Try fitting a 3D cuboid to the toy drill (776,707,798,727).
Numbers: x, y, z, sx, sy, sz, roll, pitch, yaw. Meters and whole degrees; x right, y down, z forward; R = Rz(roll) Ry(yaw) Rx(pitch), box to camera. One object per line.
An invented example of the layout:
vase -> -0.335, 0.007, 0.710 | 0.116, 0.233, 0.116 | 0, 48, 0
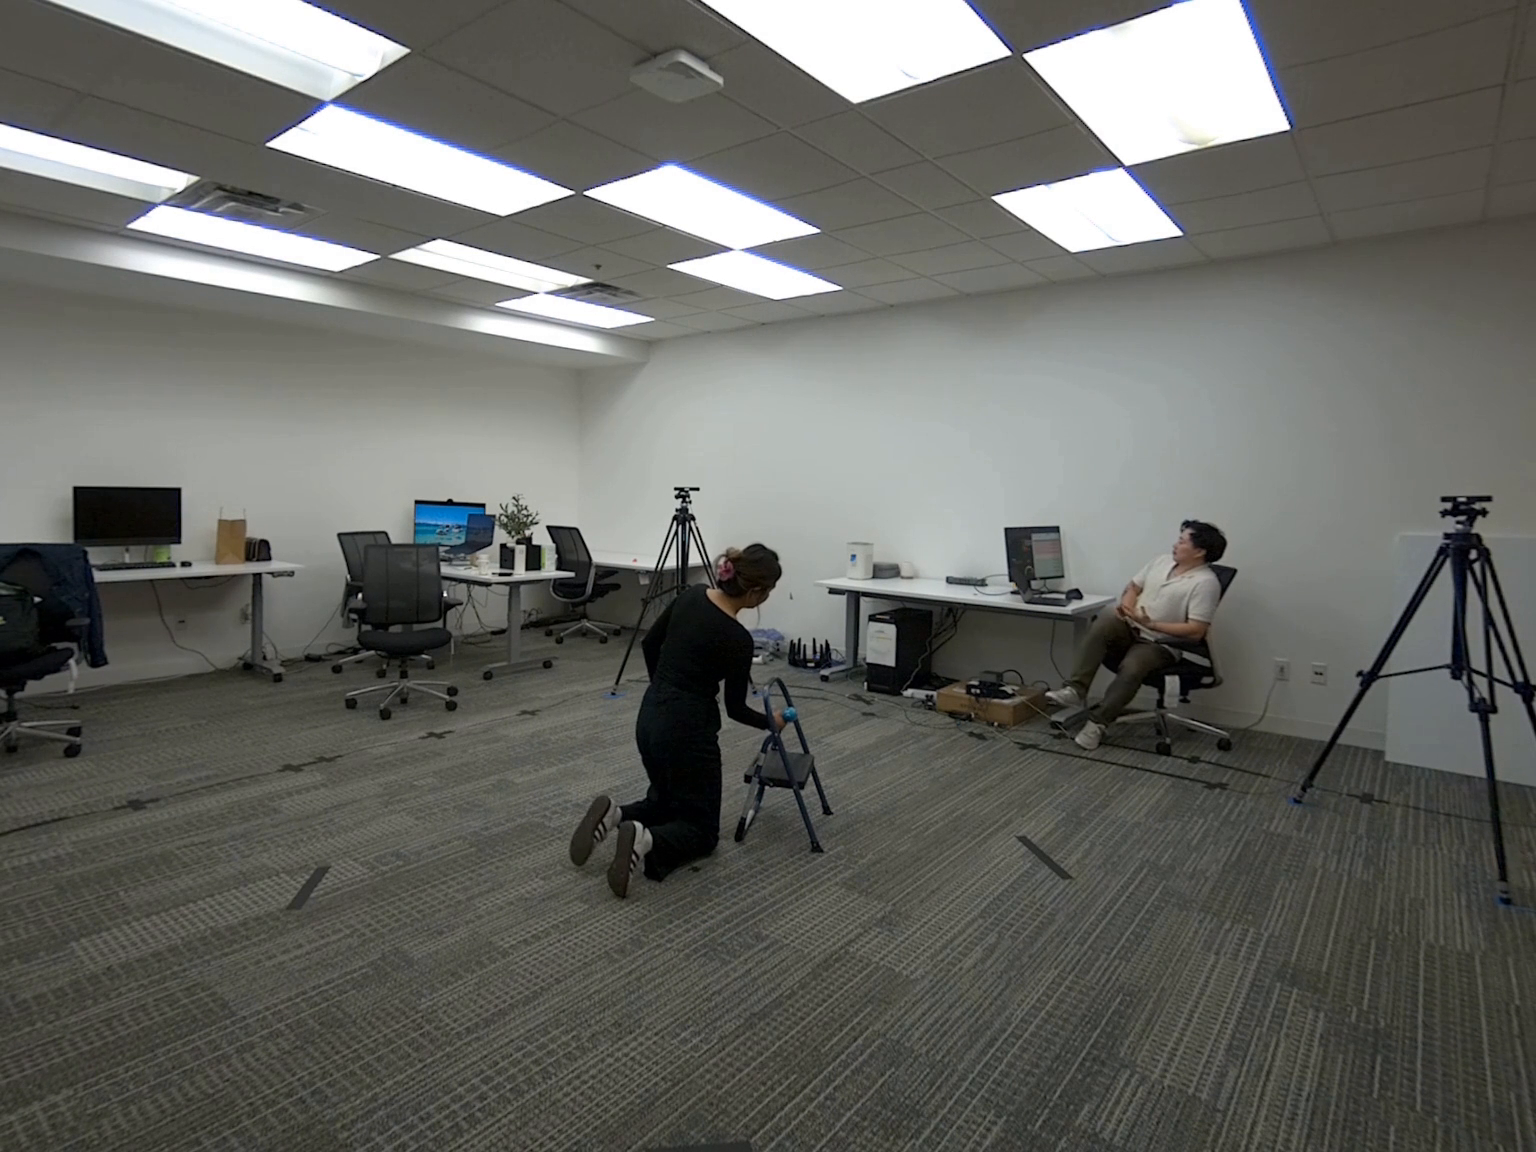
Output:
toy drill -> 0.051, 0.595, 3.589 | 0.148, 0.061, 0.167 | -13, -4, 13
